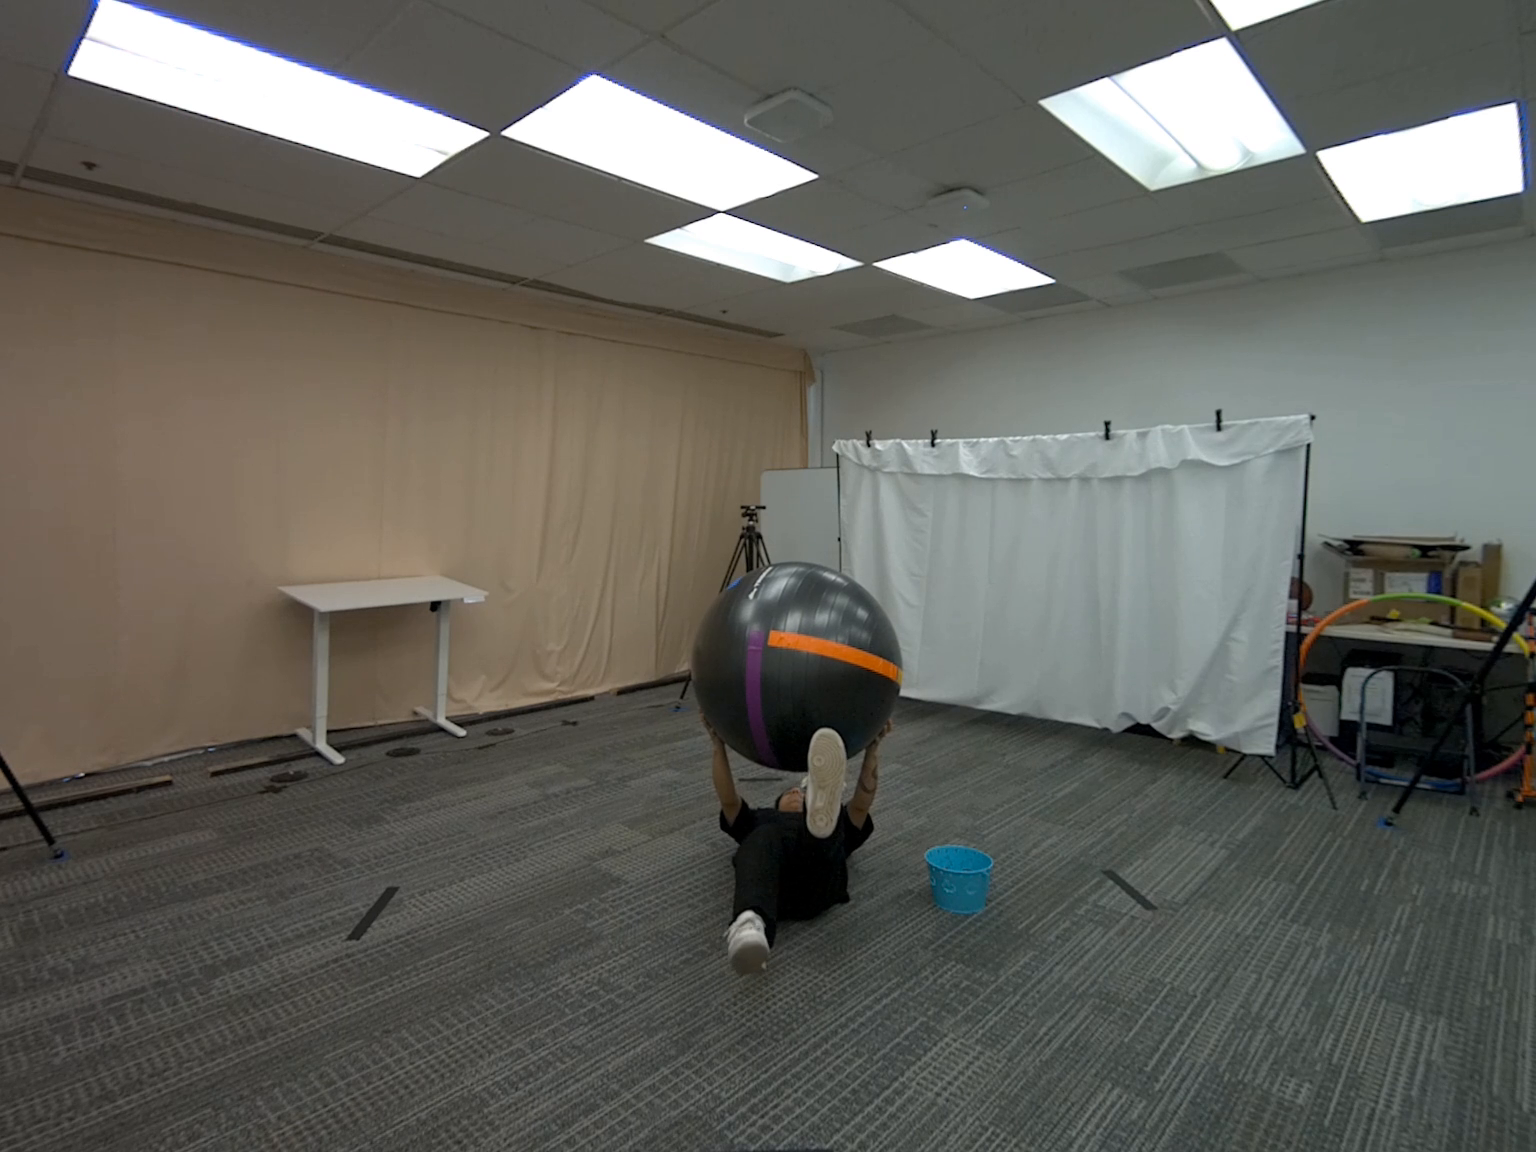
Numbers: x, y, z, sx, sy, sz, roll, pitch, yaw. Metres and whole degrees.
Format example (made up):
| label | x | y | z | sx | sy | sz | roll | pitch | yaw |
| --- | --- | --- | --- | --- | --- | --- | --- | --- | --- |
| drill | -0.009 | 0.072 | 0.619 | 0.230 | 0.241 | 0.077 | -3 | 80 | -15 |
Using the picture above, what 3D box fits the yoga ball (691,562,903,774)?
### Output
| label | x | y | z | sx | sy | sz | roll | pitch | yaw |
| --- | --- | --- | --- | --- | --- | --- | --- | --- | --- |
| yoga ball | 0.102 | 0.335 | 3.080 | 0.757 | 0.756 | 0.760 | 0 | 4 | -2 |
